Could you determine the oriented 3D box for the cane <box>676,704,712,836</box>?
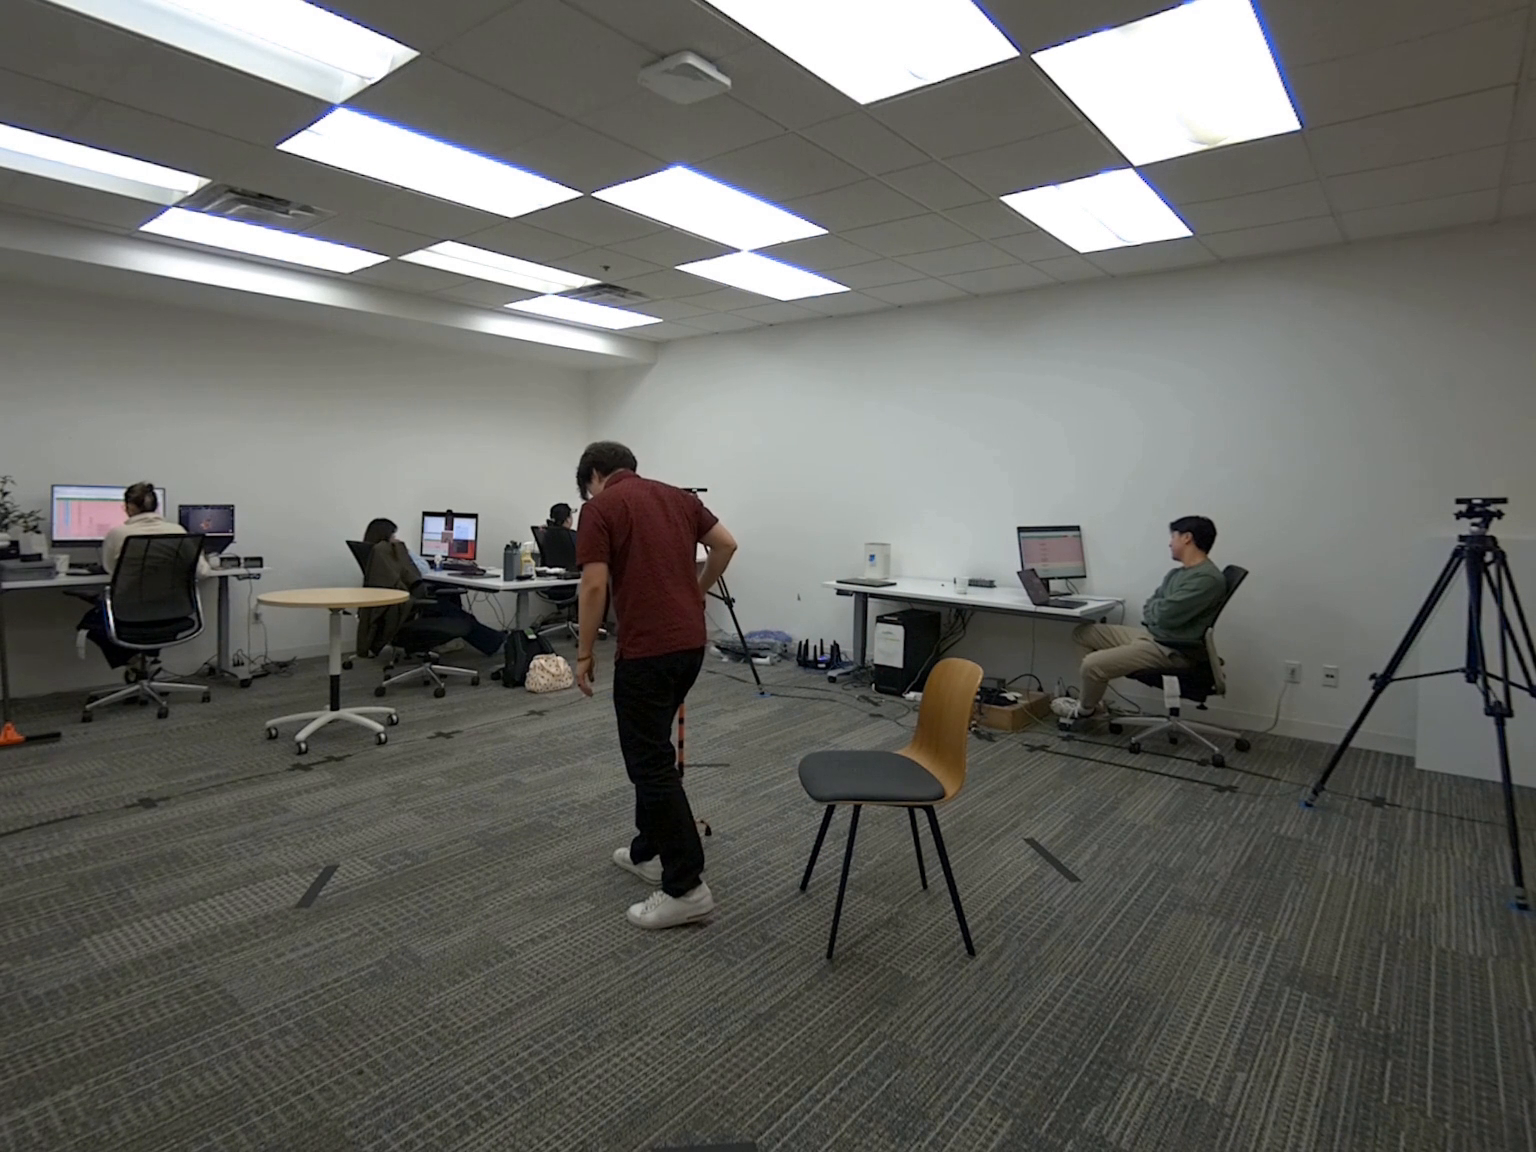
[{"bbox_3d":[-0.340,0.562,3.307,0.210,0.911,0.149,-1,-3,15],"label":"cane"}]
